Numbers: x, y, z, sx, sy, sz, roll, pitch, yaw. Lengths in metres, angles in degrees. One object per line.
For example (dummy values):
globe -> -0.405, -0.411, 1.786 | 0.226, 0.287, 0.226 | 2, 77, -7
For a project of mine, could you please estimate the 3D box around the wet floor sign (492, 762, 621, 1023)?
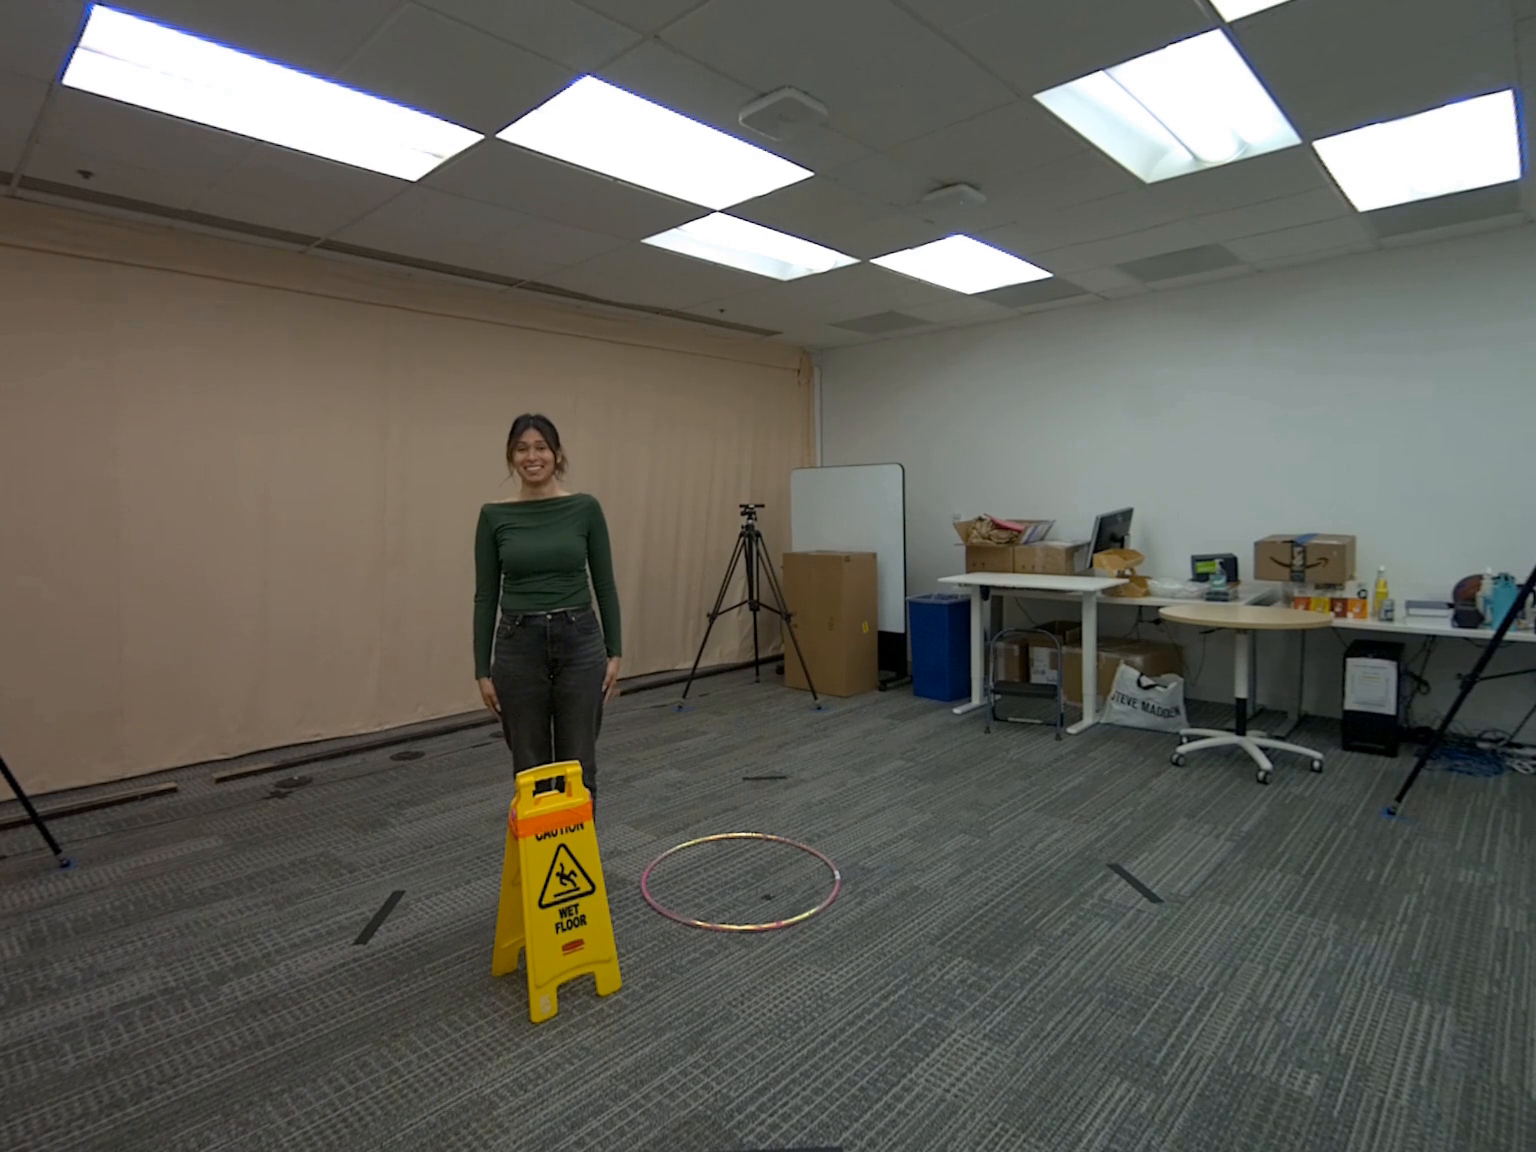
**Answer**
wet floor sign -> -0.629, 0.875, 2.463 | 0.274, 0.645, 0.299 | -3, 3, -38
